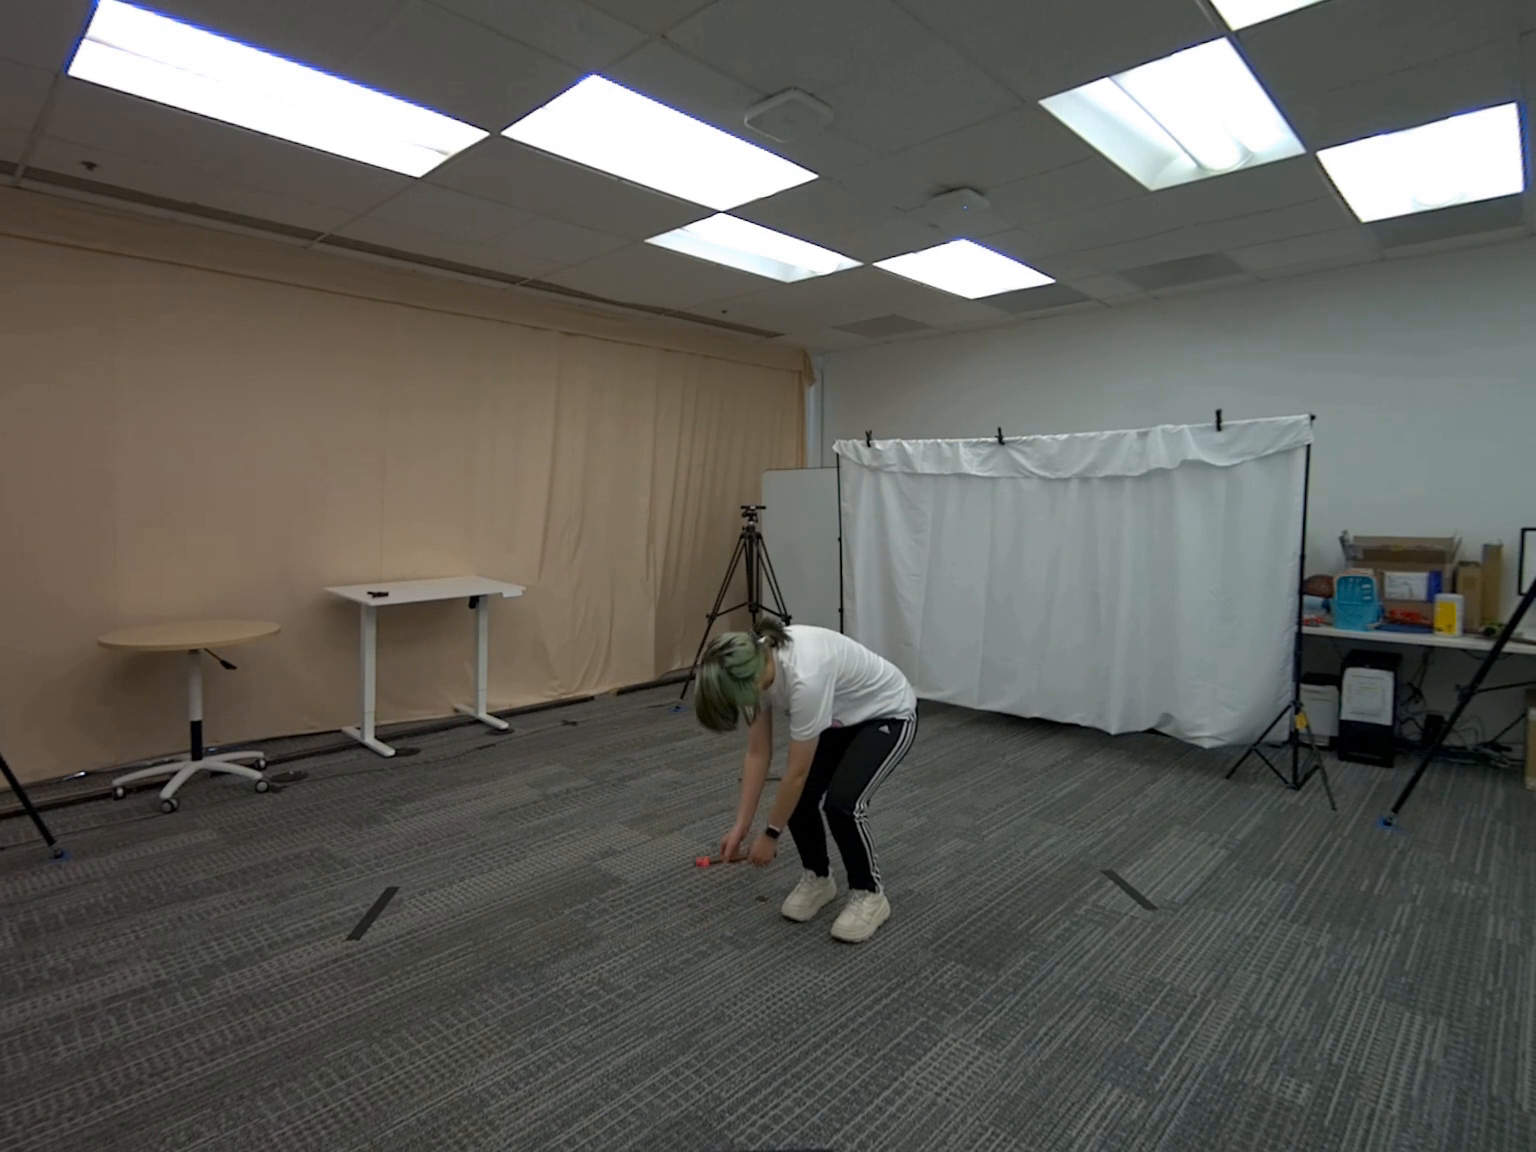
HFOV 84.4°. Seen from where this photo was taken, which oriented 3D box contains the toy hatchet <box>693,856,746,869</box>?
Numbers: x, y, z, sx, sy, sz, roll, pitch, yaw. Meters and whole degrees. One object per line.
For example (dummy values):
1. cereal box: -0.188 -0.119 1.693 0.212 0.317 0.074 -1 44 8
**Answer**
1. toy hatchet: -0.114 0.954 2.768 0.266 0.030 0.132 14 -24 -14
